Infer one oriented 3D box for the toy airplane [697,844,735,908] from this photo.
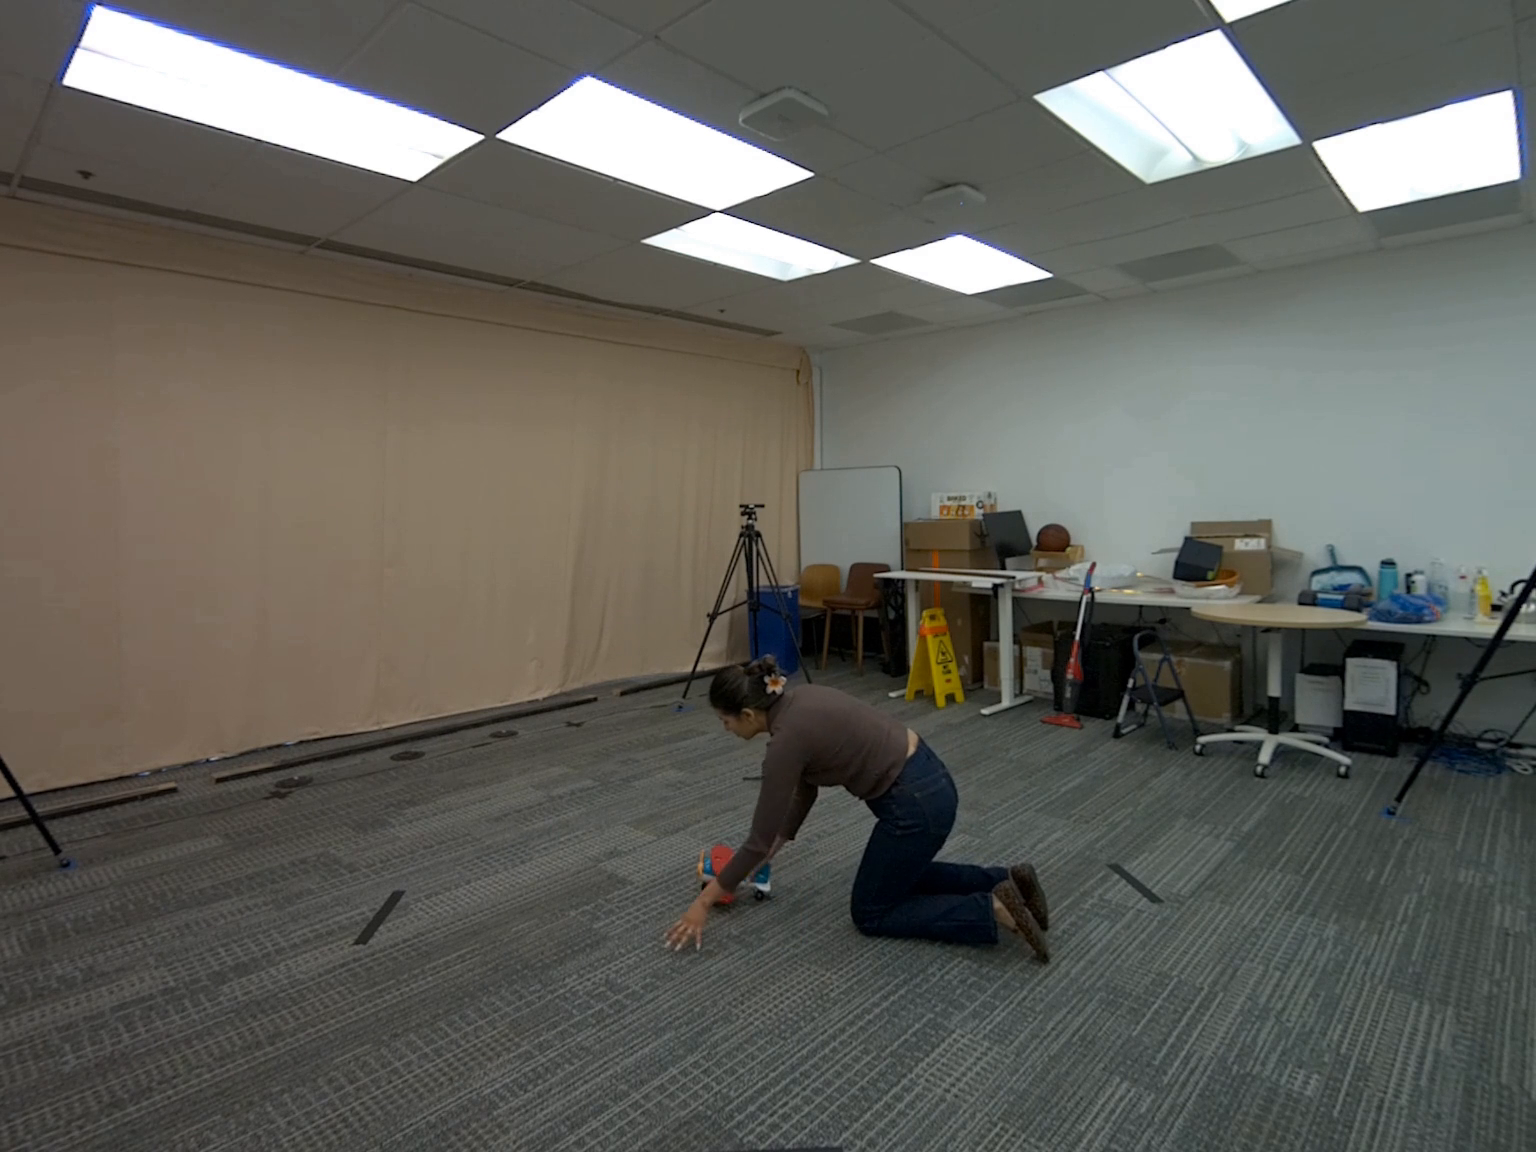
[{"bbox_3d":[-0.123,1.075,2.987,0.252,0.156,0.259,-5,6,-32],"label":"toy airplane"}]
